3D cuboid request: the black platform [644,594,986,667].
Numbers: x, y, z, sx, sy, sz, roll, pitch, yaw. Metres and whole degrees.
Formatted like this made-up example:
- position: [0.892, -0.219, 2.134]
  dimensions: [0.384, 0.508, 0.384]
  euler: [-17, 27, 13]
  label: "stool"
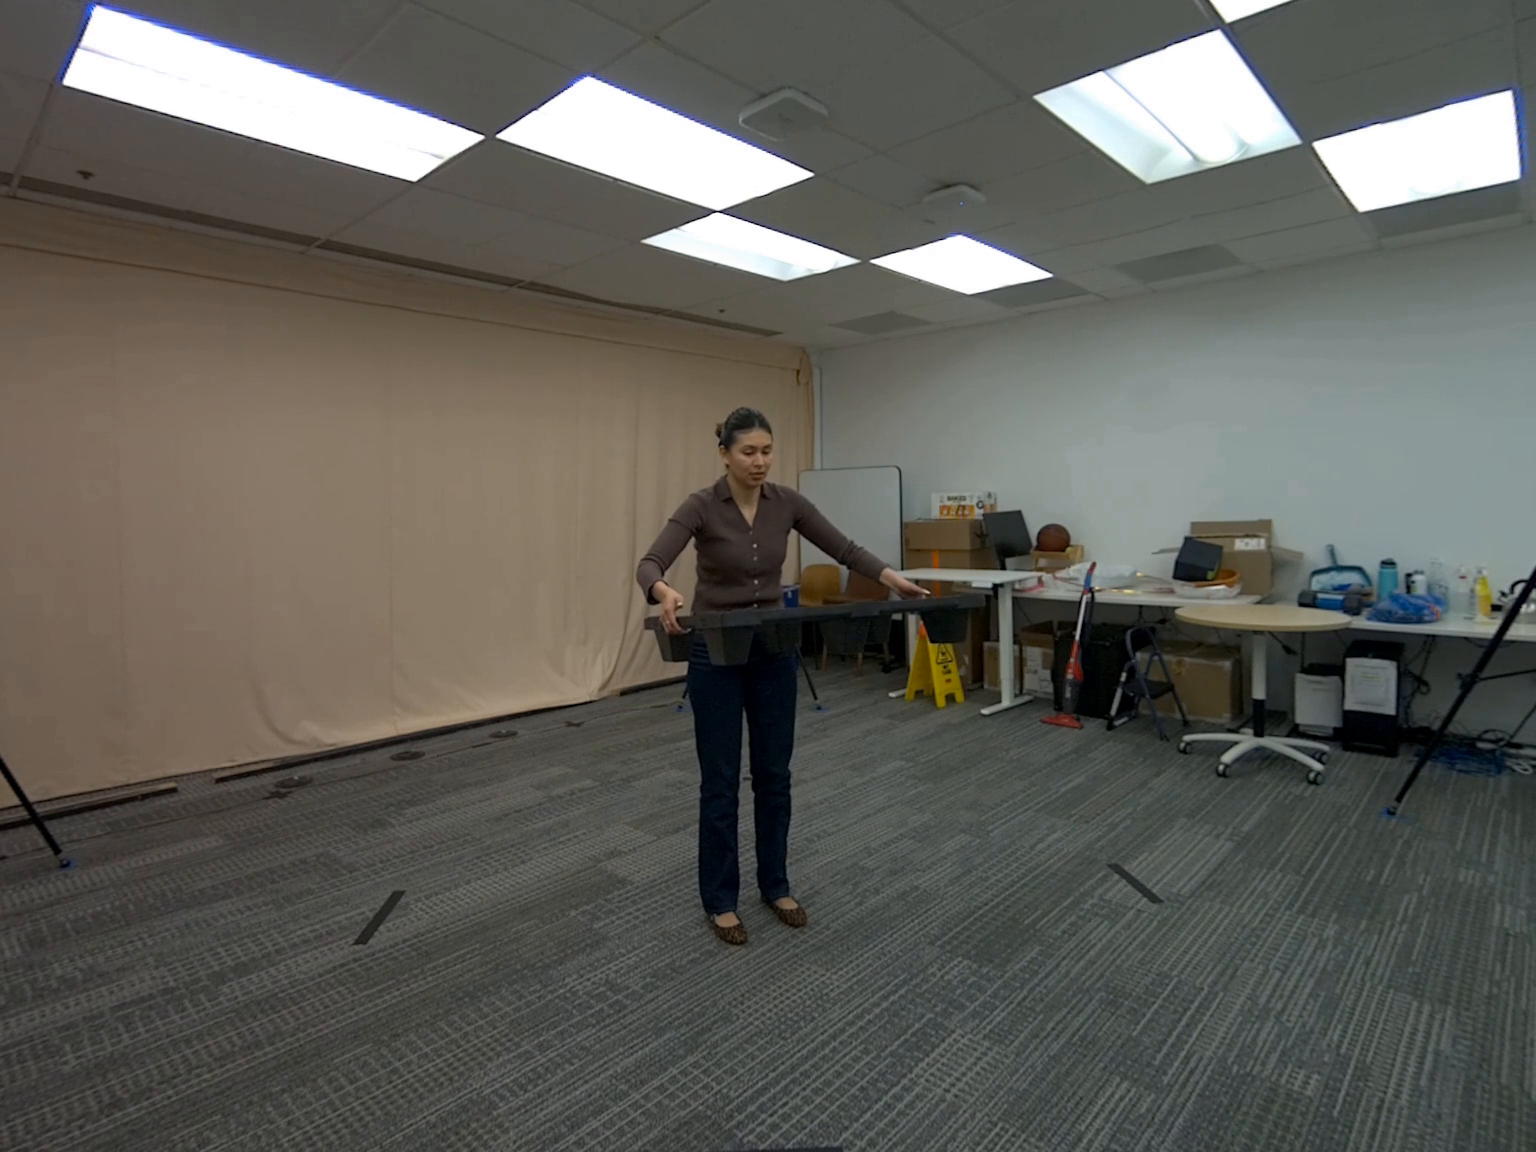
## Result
- position: [0.118, 0.154, 2.413]
  dimensions: [0.787, 0.144, 0.617]
  euler: [-3, -3, -24]
  label: "black platform"
